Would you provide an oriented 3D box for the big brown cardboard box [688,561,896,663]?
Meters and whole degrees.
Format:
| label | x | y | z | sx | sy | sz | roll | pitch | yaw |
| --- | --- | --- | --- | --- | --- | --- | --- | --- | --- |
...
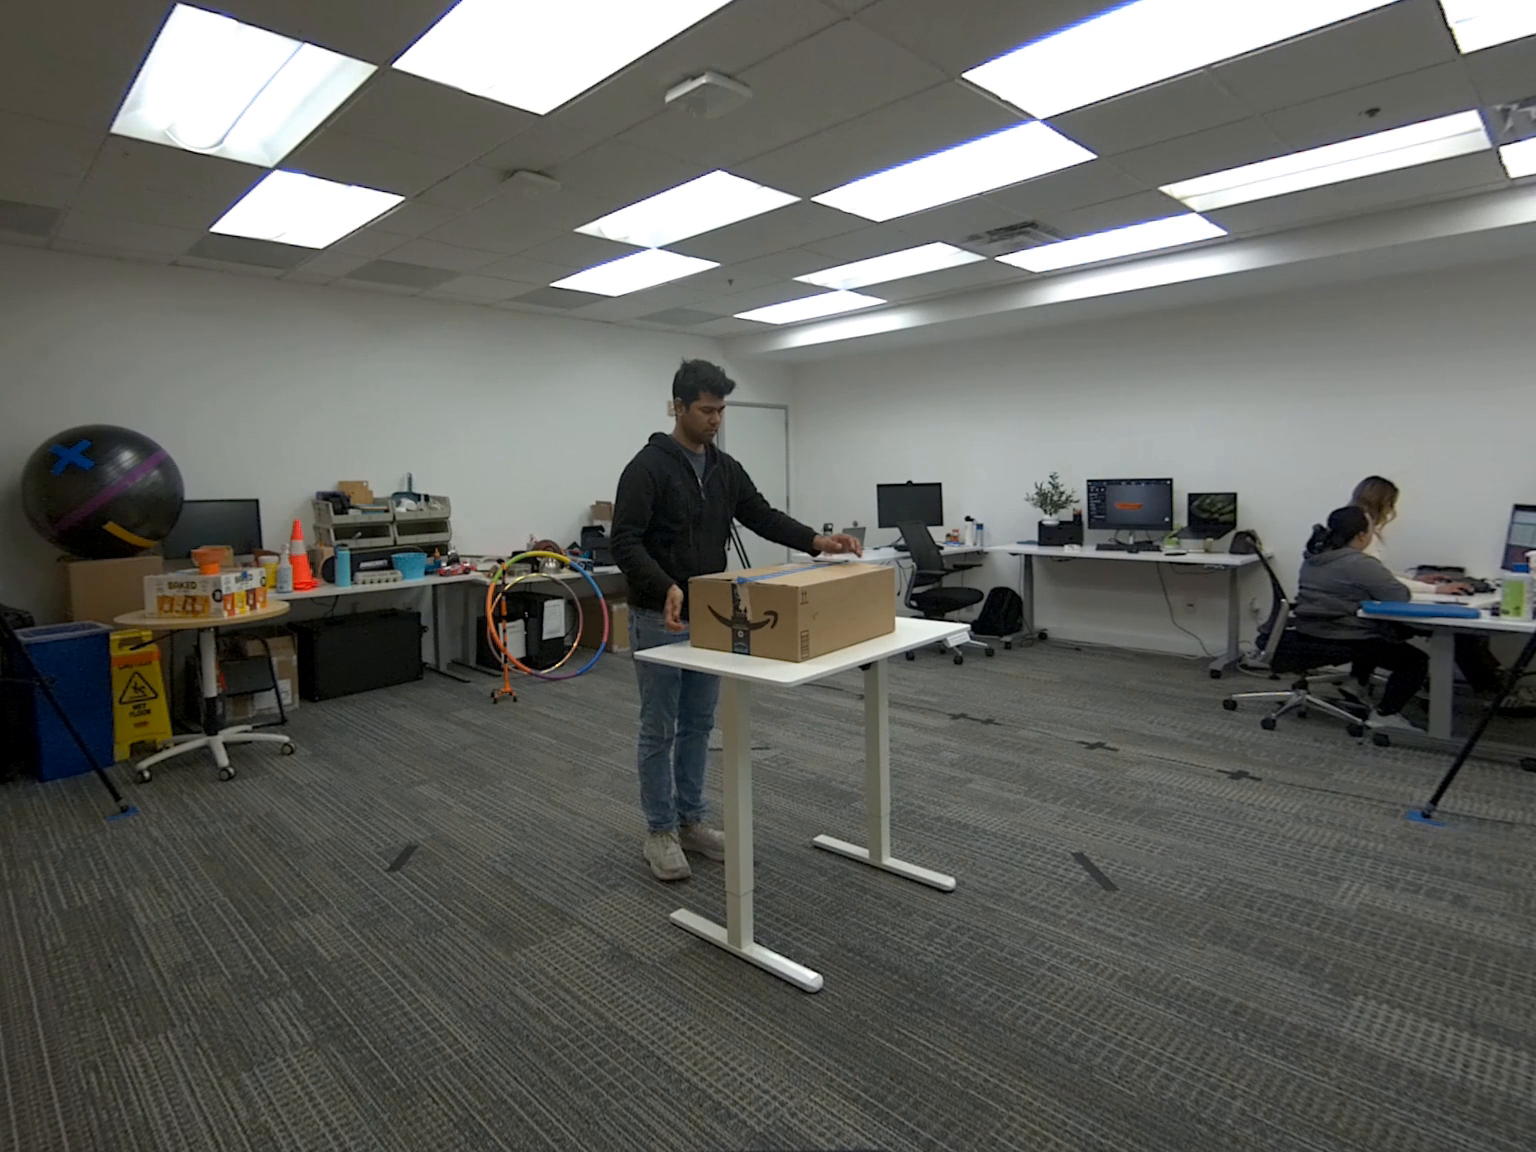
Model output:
| label | x | y | z | sx | sy | sz | roll | pitch | yaw |
| --- | --- | --- | --- | --- | --- | --- | --- | --- | --- |
| big brown cardboard box | 0.085 | 0.094 | 2.734 | 0.430 | 0.232 | 0.575 | 3 | 9 | 38 |
